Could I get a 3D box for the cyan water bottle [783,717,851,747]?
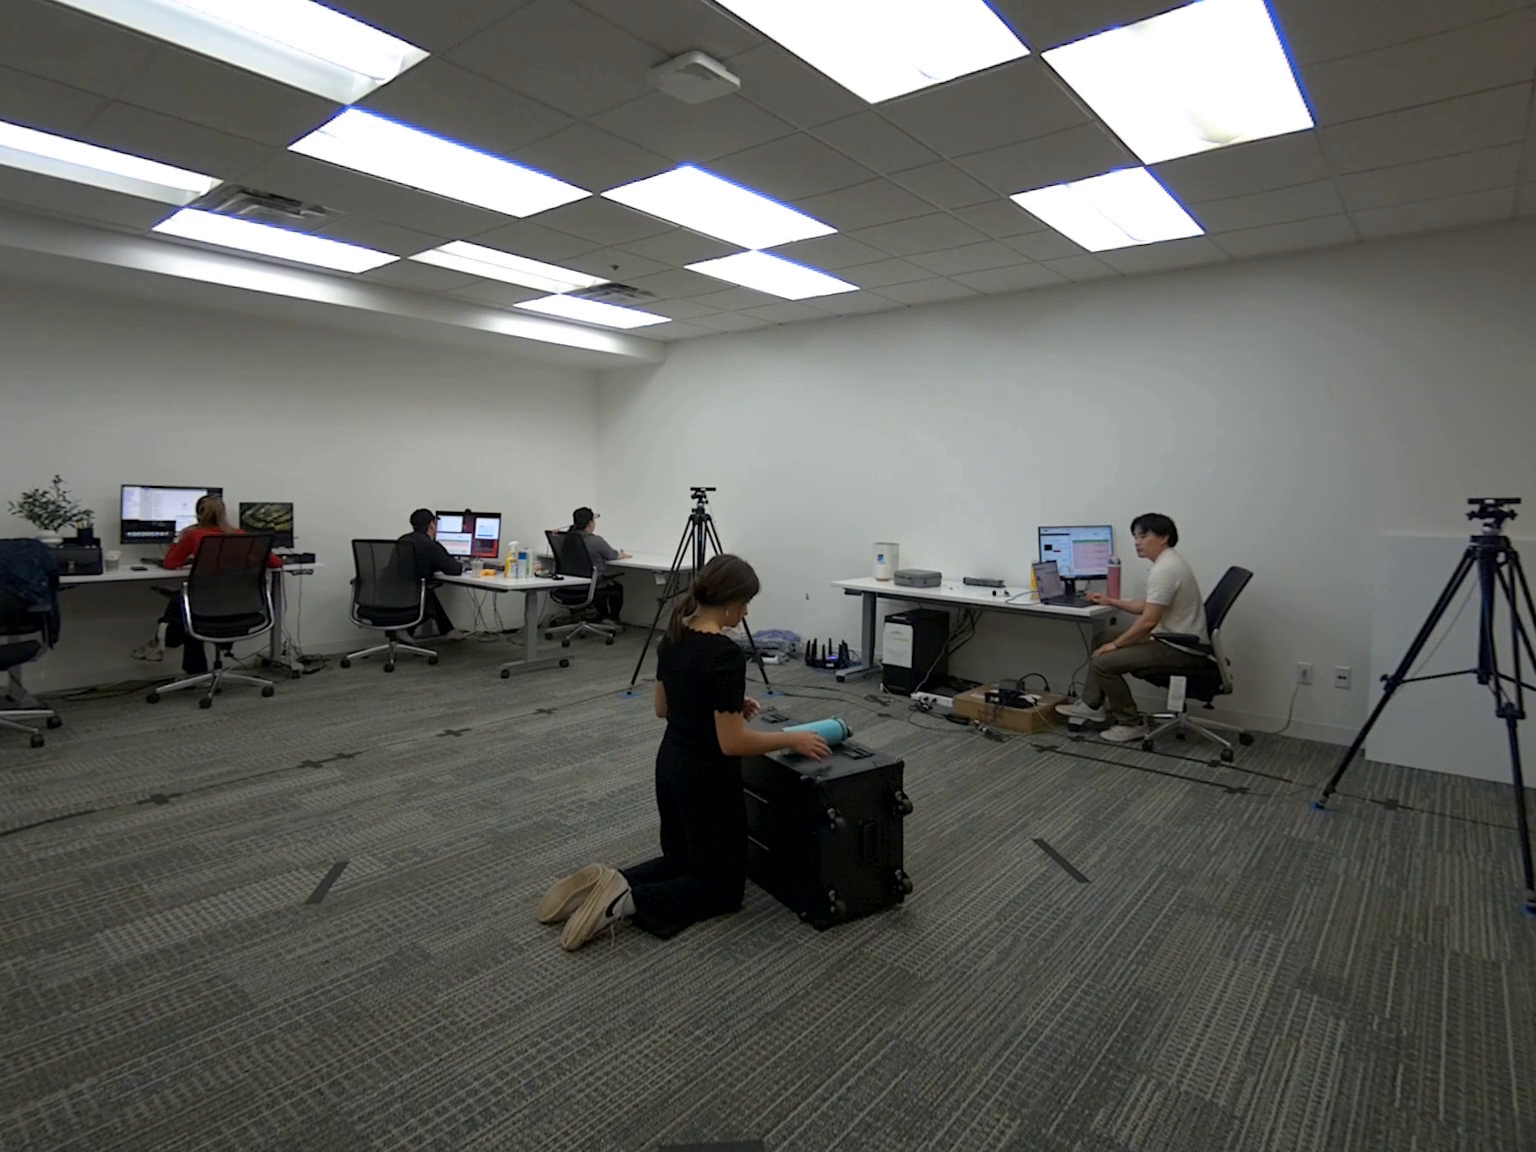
[{"bbox_3d":[0.162,0.554,2.968,0.276,0.092,0.095,-4,6,-29],"label":"cyan water bottle"}]
